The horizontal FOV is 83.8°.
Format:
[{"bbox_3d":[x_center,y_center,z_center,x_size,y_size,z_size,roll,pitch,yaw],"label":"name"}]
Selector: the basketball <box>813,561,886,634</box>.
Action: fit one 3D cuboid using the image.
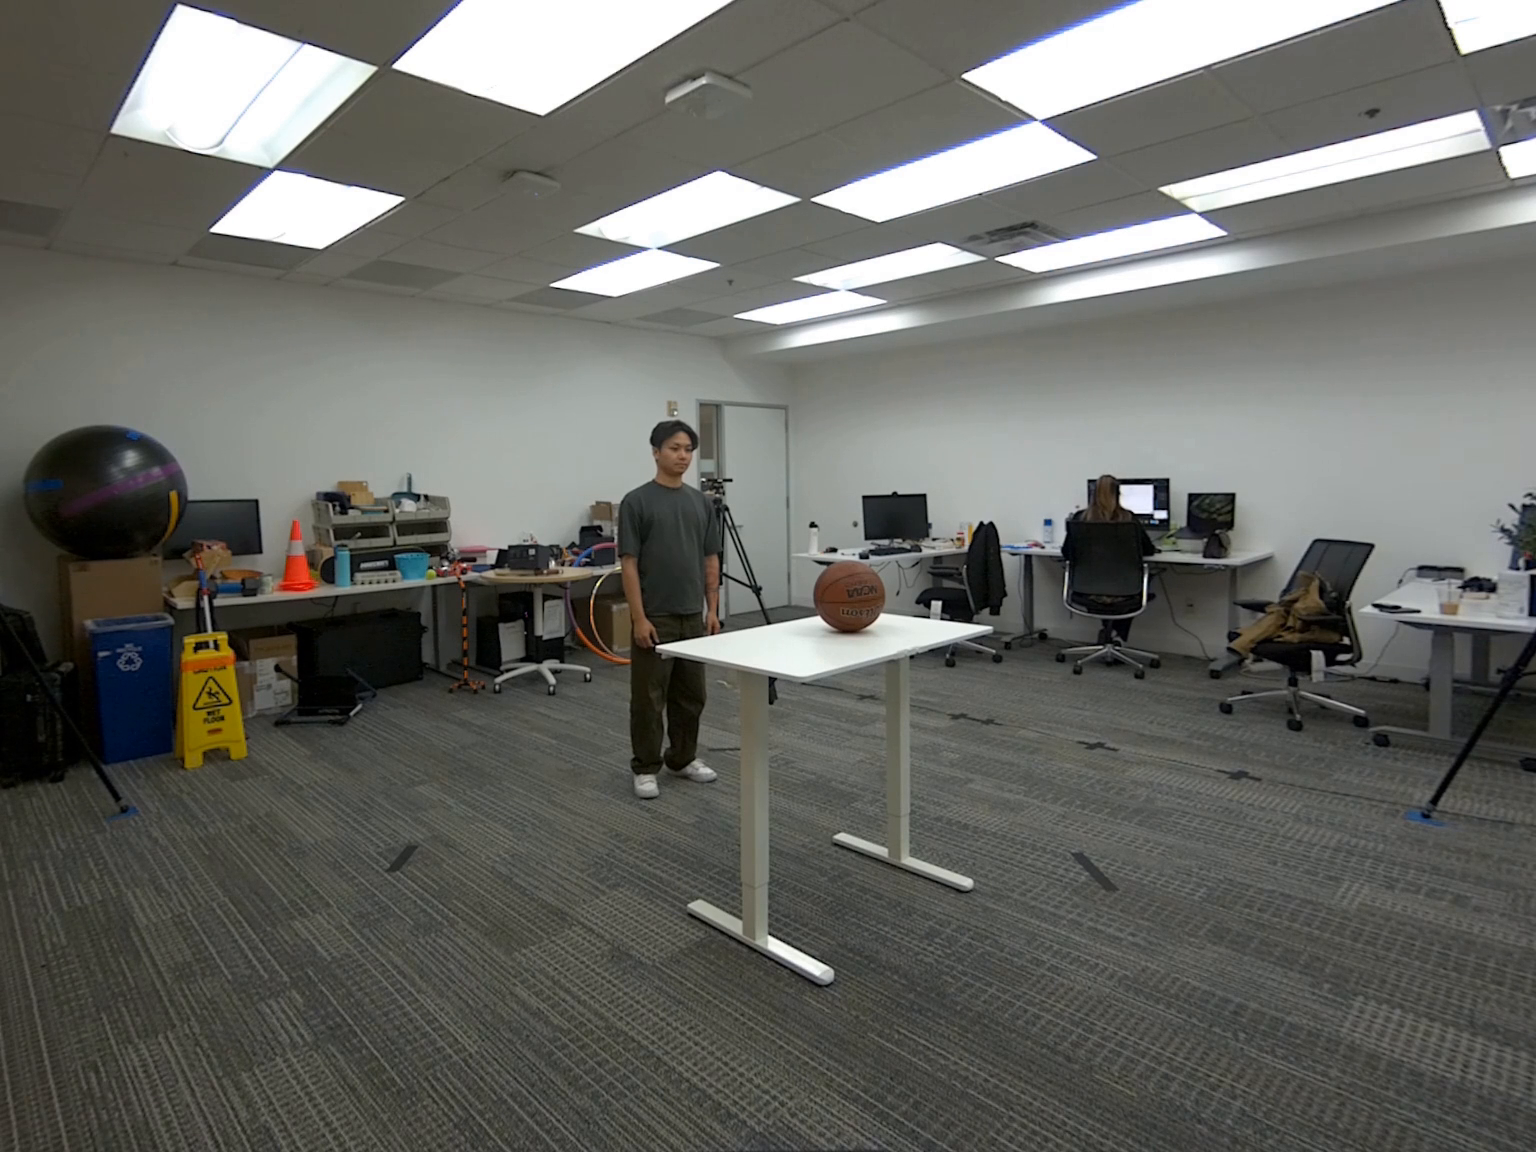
[{"bbox_3d":[0.272,0.067,2.859,0.236,0.235,0.237,-1,5,-2],"label":"basketball"}]
